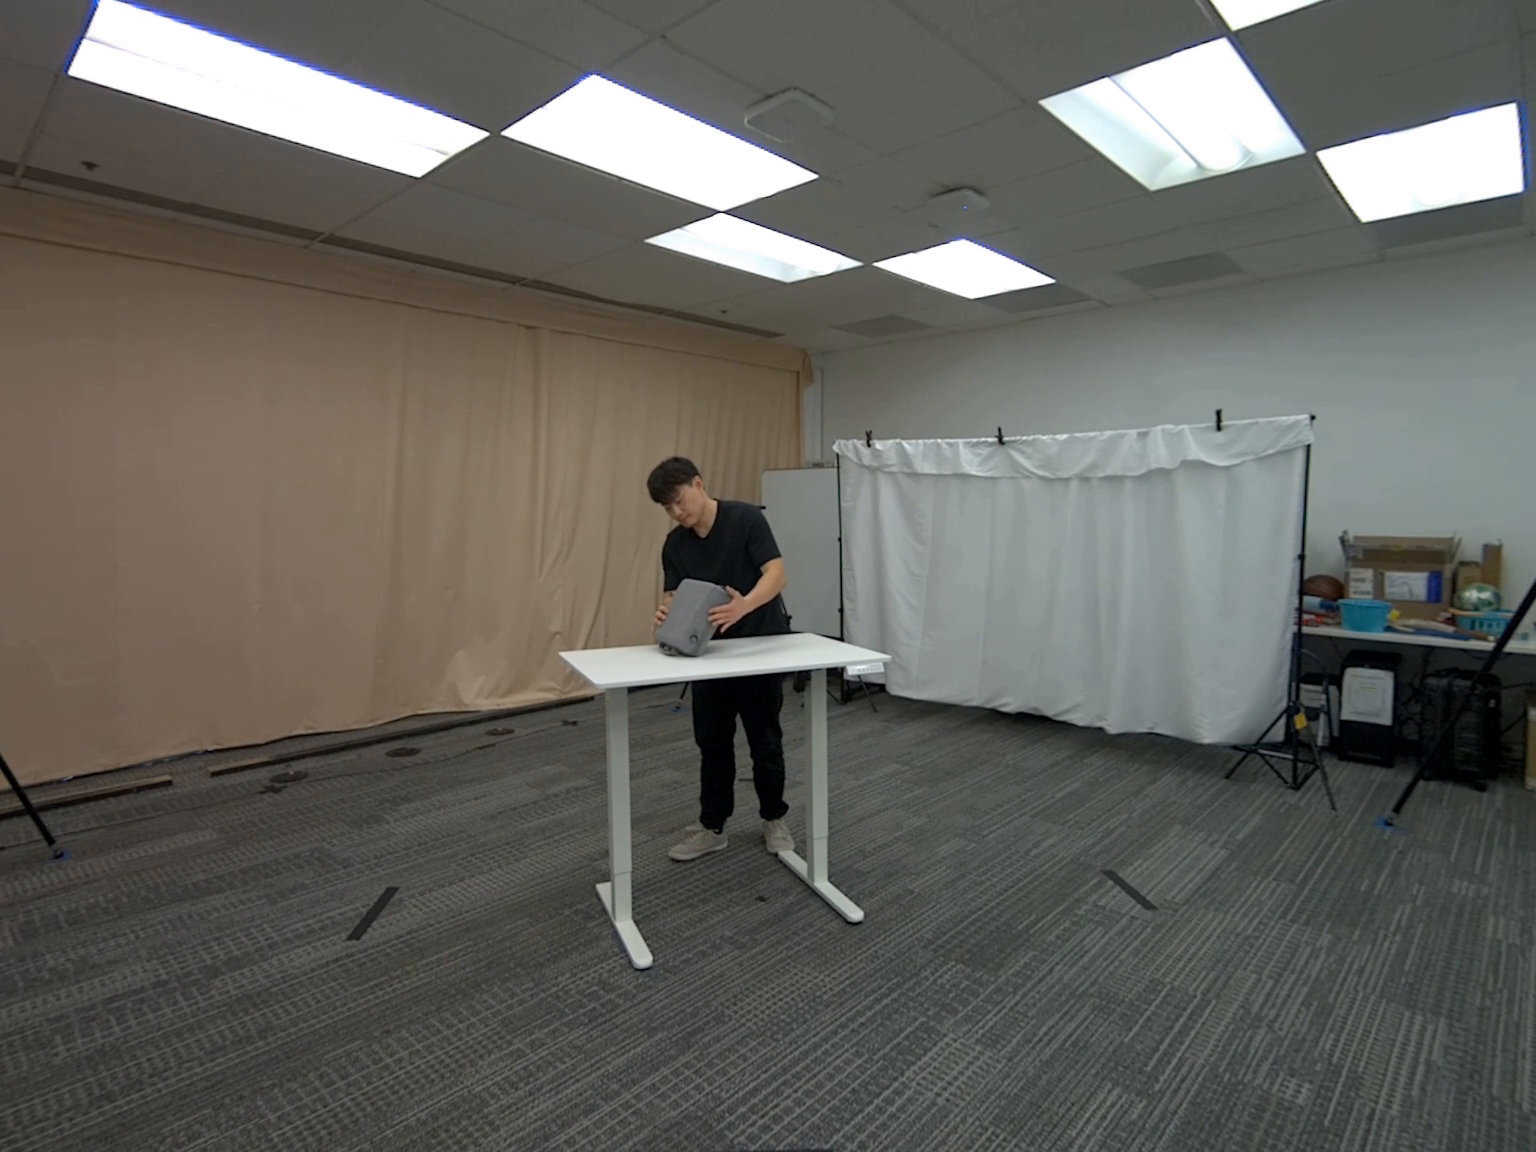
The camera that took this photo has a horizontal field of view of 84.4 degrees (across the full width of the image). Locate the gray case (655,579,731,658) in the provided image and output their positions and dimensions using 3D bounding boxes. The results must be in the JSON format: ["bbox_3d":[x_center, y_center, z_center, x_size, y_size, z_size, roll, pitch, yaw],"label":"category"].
[{"bbox_3d":[-0.268,0.144,2.952,0.101,0.261,0.264,32,-12,-27],"label":"gray case"}]
